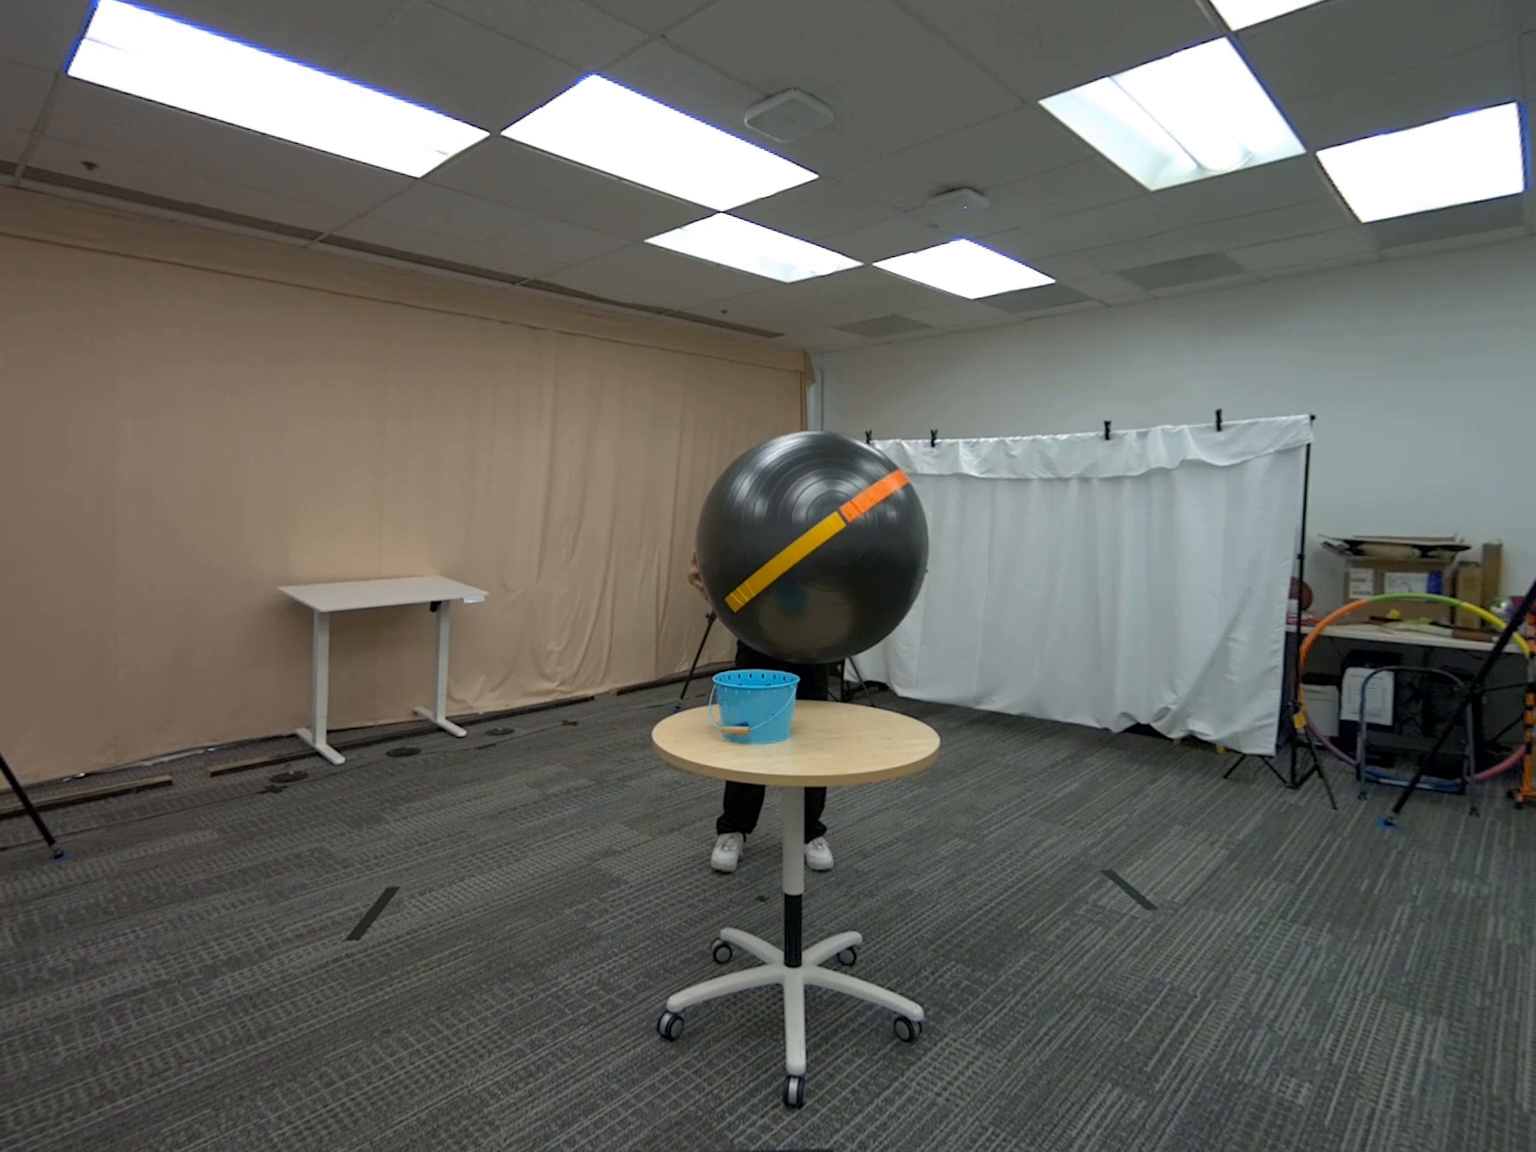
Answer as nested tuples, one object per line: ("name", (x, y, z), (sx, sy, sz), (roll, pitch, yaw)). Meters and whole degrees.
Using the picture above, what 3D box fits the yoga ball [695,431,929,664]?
("yoga ball", (0.146, -0.089, 2.758), (0.757, 0.756, 0.760), (0, 4, -2))
